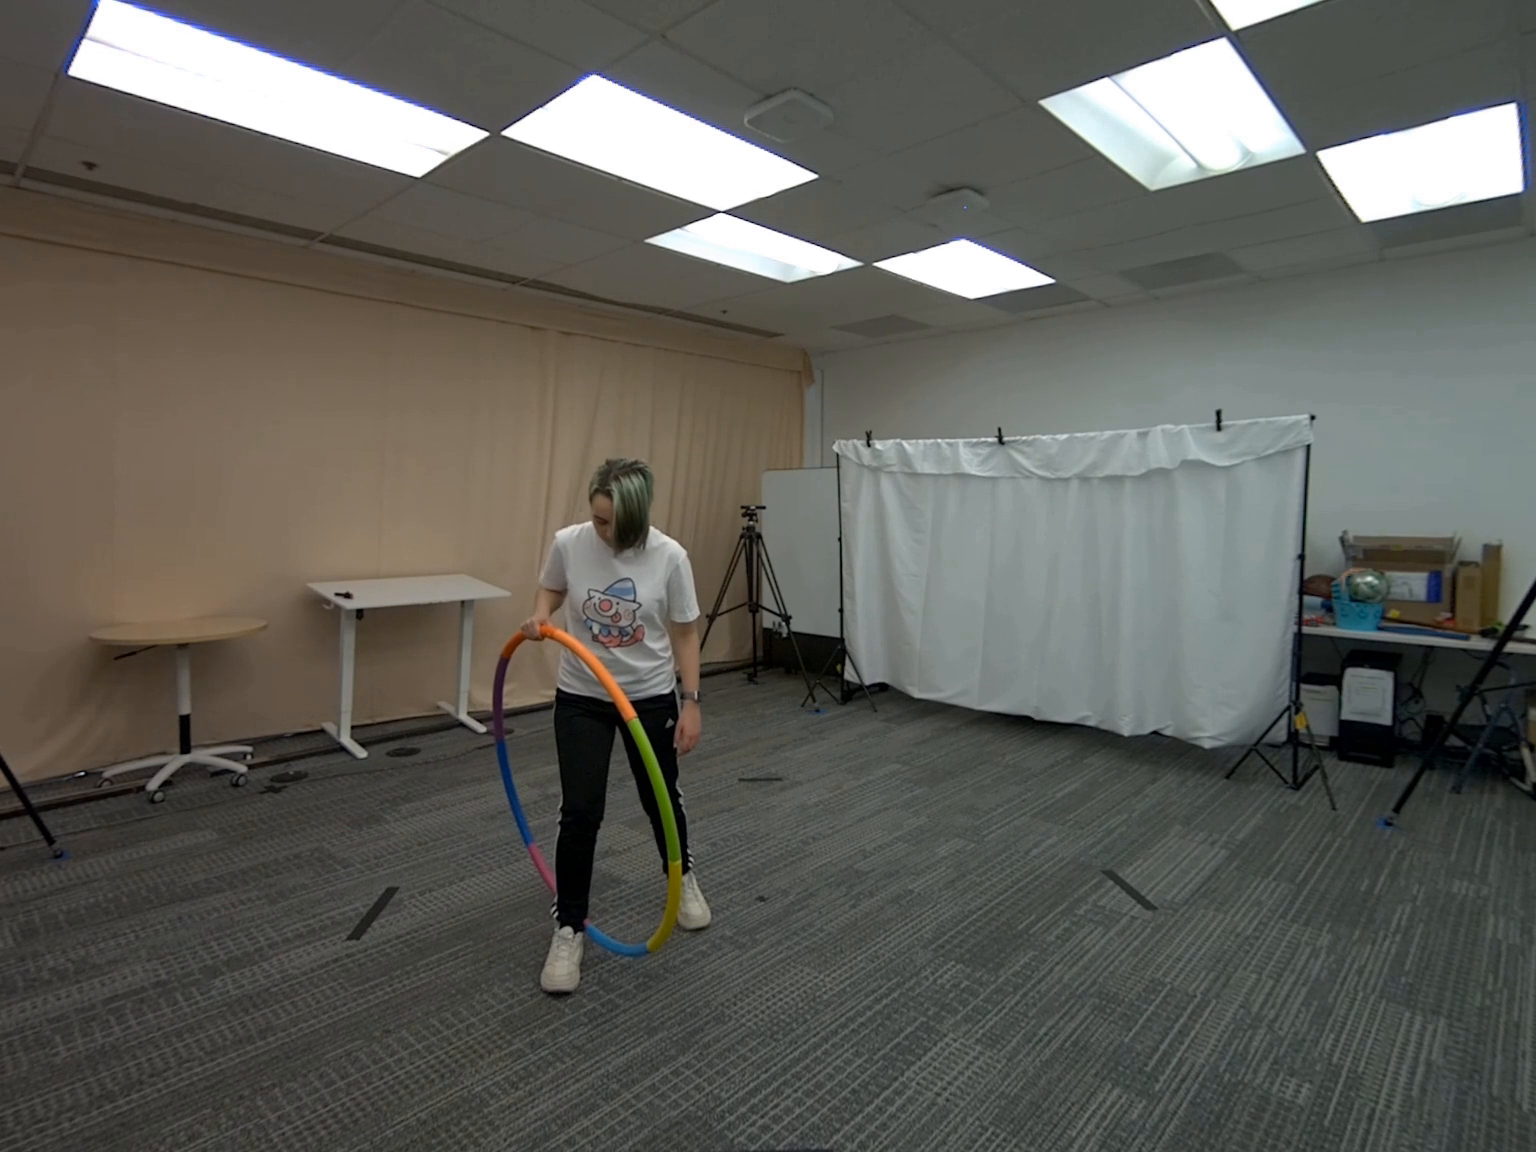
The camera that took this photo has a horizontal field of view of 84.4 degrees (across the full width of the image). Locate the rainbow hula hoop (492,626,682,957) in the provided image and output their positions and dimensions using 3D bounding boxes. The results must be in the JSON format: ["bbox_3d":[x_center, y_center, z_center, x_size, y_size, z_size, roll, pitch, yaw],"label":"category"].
[{"bbox_3d":[-0.567,0.628,2.479,0.034,0.971,1.011,-15,13,-42],"label":"rainbow hula hoop"}]
